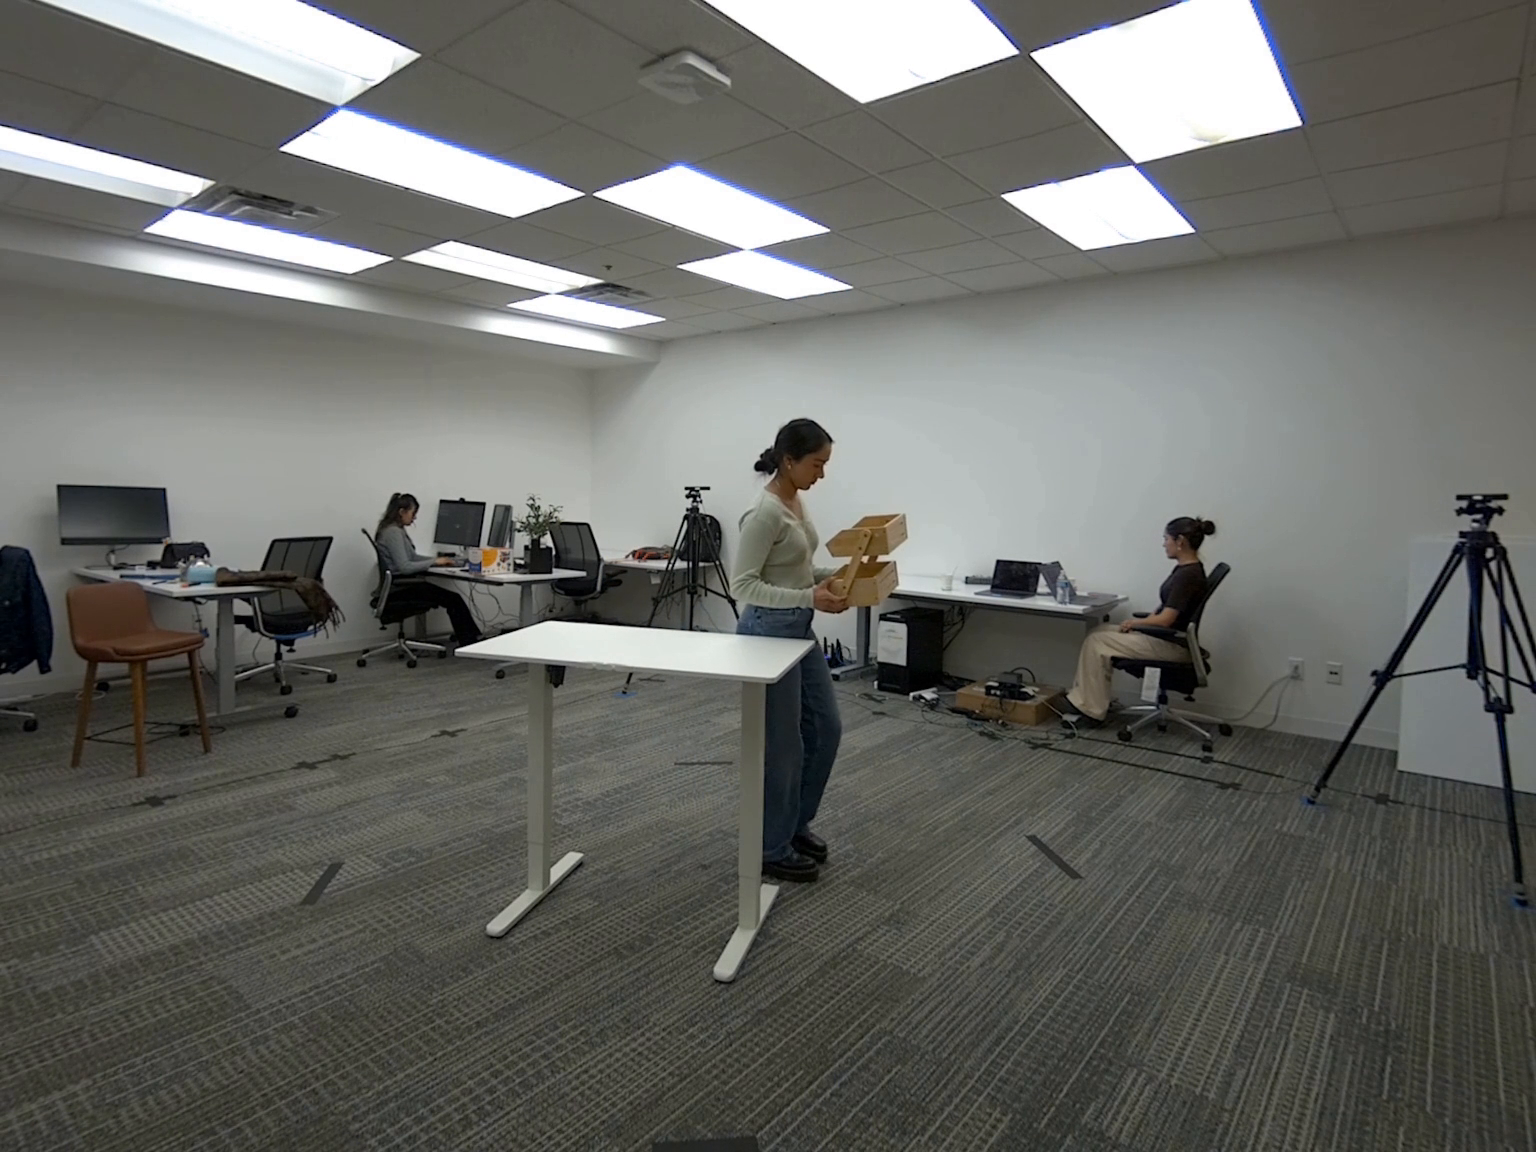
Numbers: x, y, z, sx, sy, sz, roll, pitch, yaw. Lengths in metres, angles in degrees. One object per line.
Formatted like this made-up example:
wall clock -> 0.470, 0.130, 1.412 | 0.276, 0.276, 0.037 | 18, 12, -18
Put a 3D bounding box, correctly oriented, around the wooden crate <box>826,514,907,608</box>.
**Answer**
wooden crate -> 0.307, -0.062, 2.956 | 0.309, 0.271, 0.320 | -5, 9, 24
